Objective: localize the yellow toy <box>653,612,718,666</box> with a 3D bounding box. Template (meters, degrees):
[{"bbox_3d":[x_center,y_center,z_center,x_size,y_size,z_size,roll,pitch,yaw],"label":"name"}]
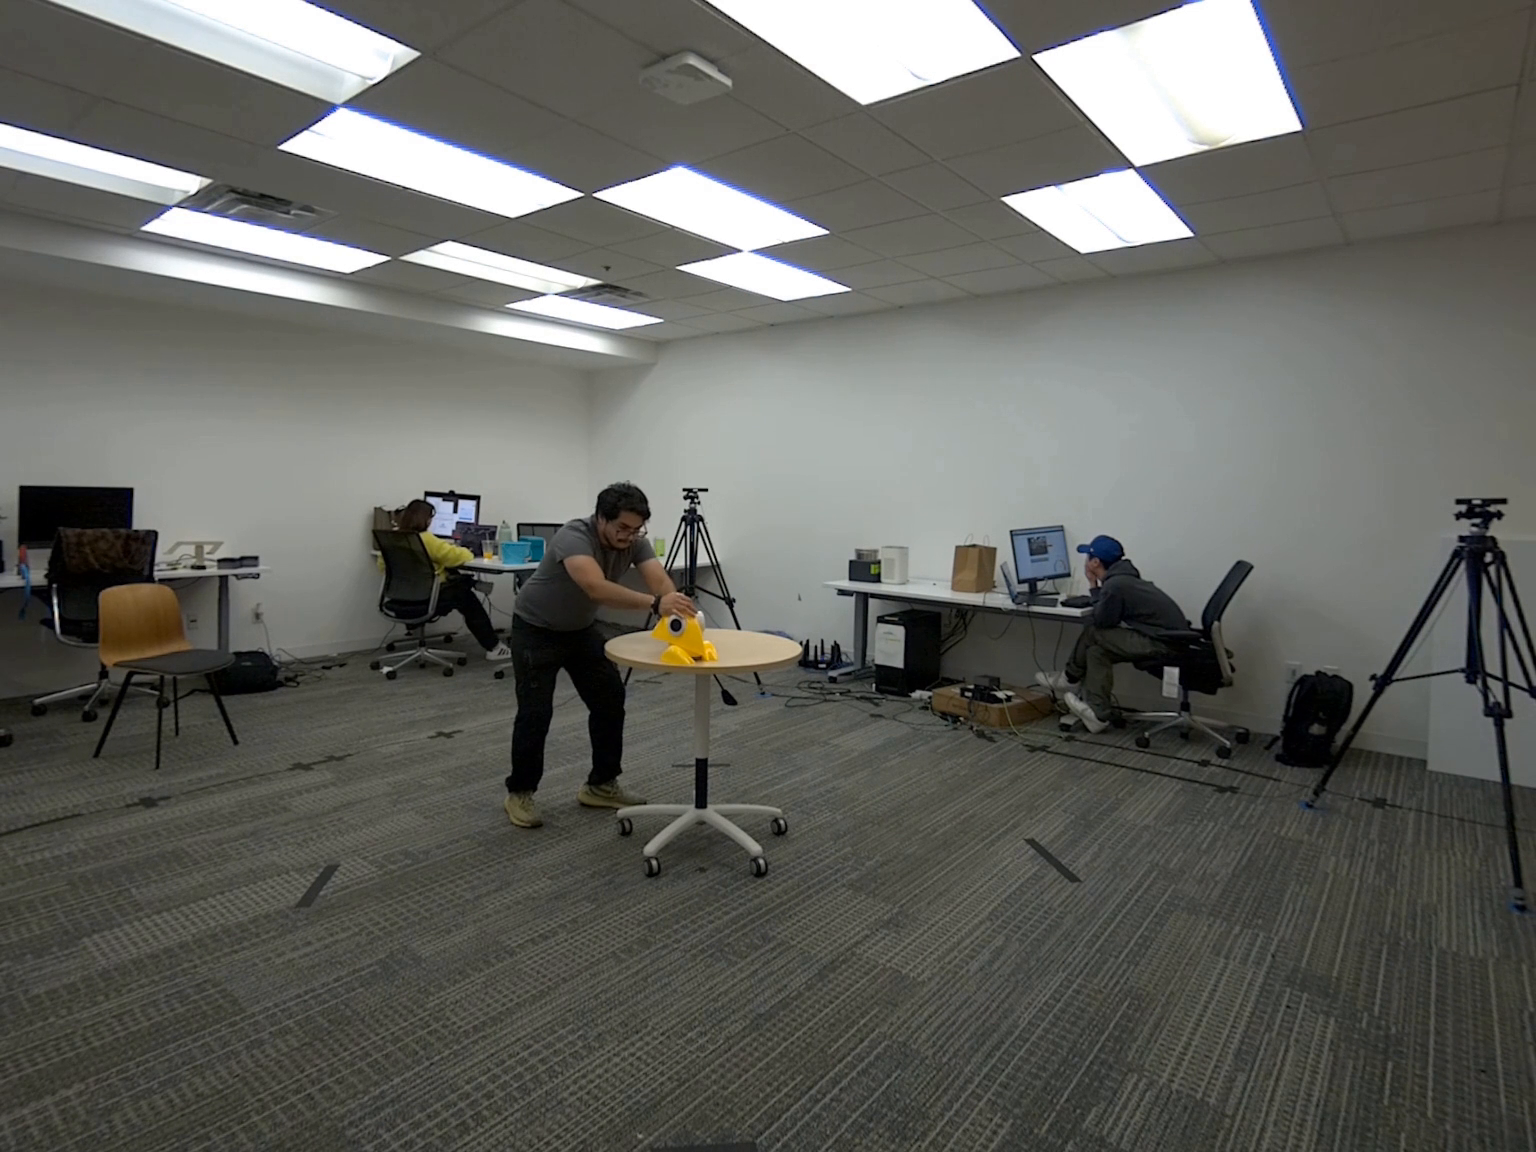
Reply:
[{"bbox_3d":[-0.299,0.187,3.058,0.199,0.230,0.199,-3,5,-41],"label":"yellow toy"}]
